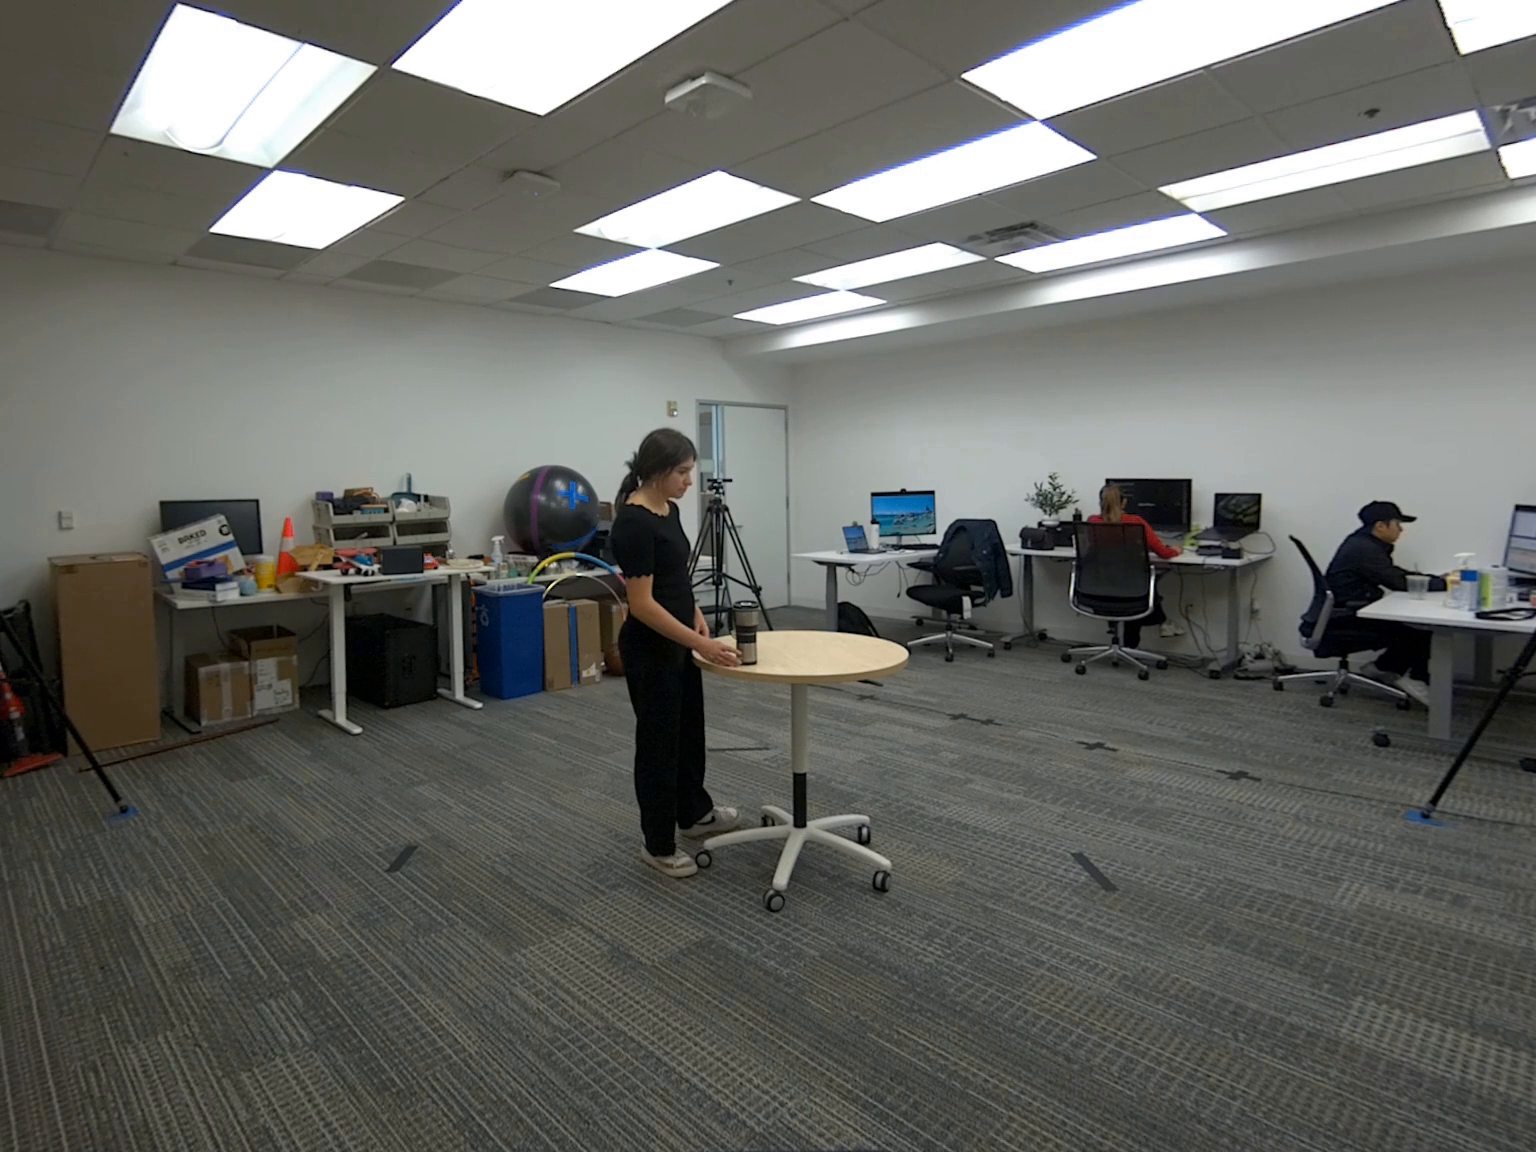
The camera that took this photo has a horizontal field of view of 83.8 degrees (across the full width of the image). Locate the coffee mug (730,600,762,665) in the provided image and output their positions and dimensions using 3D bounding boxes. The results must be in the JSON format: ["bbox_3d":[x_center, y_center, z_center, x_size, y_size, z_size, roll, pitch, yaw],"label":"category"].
[{"bbox_3d":[-0.085,0.193,2.852,0.086,0.201,0.125,-7,9,-23],"label":"coffee mug"}]
